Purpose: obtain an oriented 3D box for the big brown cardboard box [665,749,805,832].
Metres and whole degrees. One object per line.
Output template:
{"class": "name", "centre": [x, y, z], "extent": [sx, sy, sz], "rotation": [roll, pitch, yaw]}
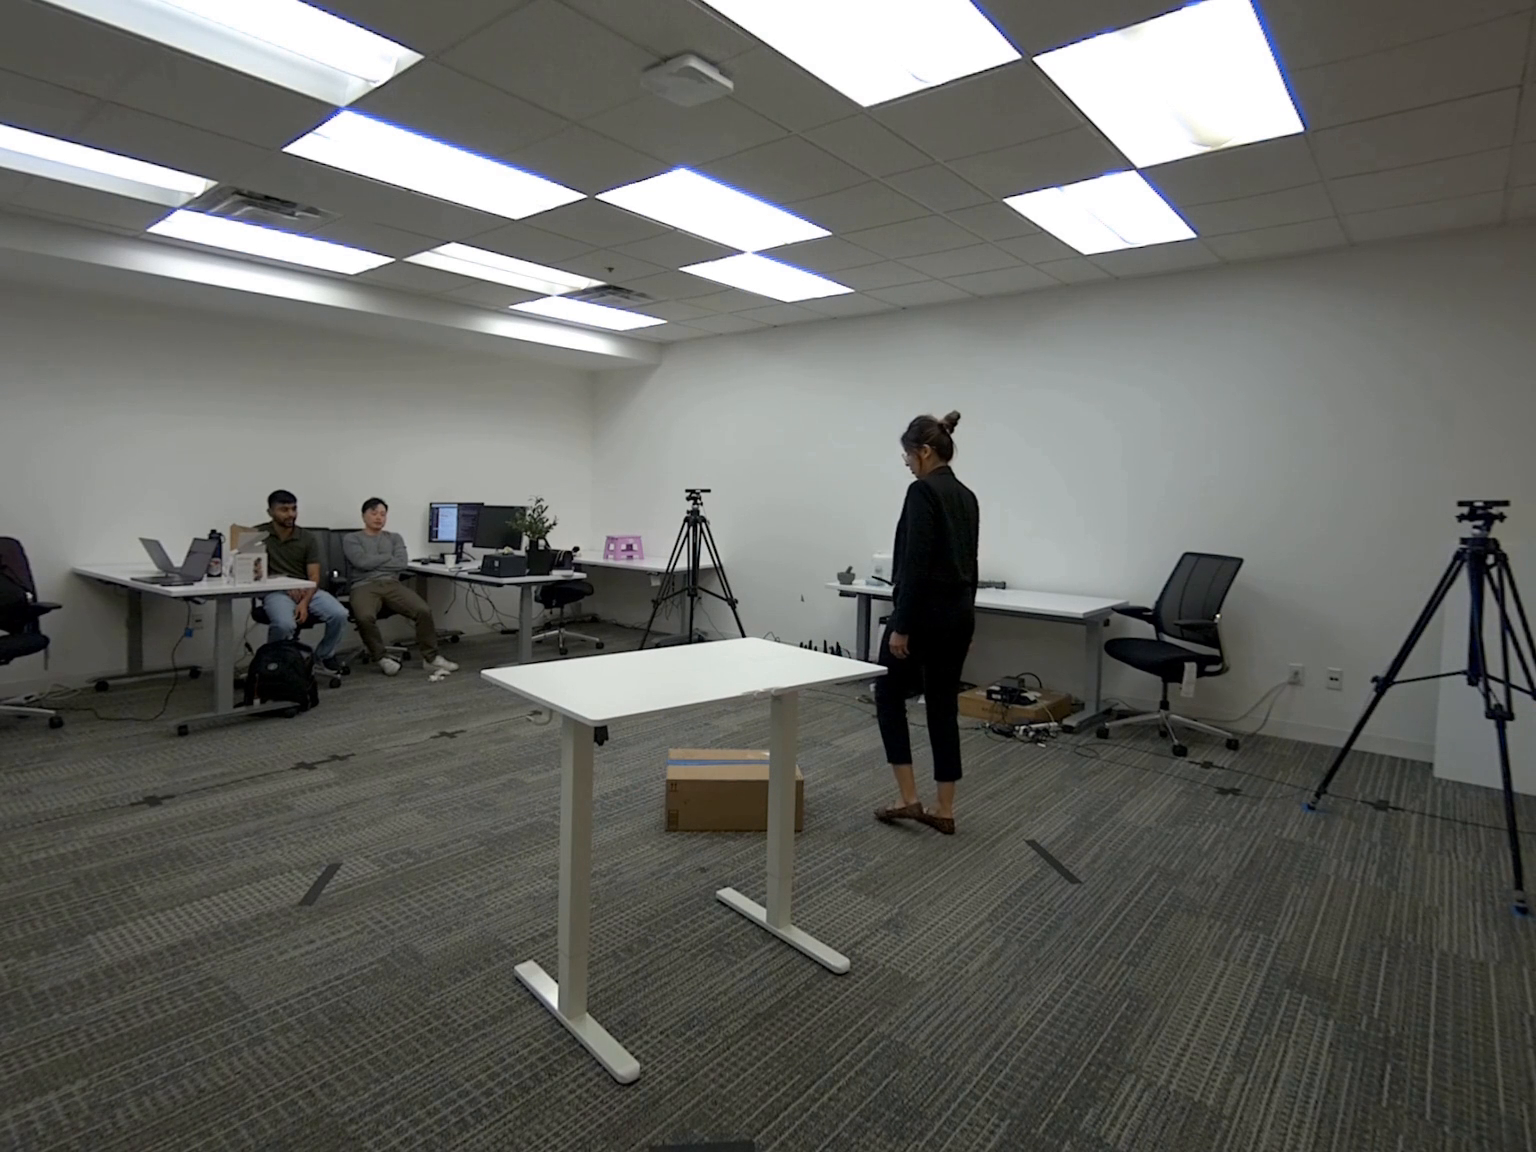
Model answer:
{"class": "big brown cardboard box", "centre": [-0.162, 0.910, 3.671], "extent": [0.586, 0.232, 0.421], "rotation": [0, 5, -5]}
